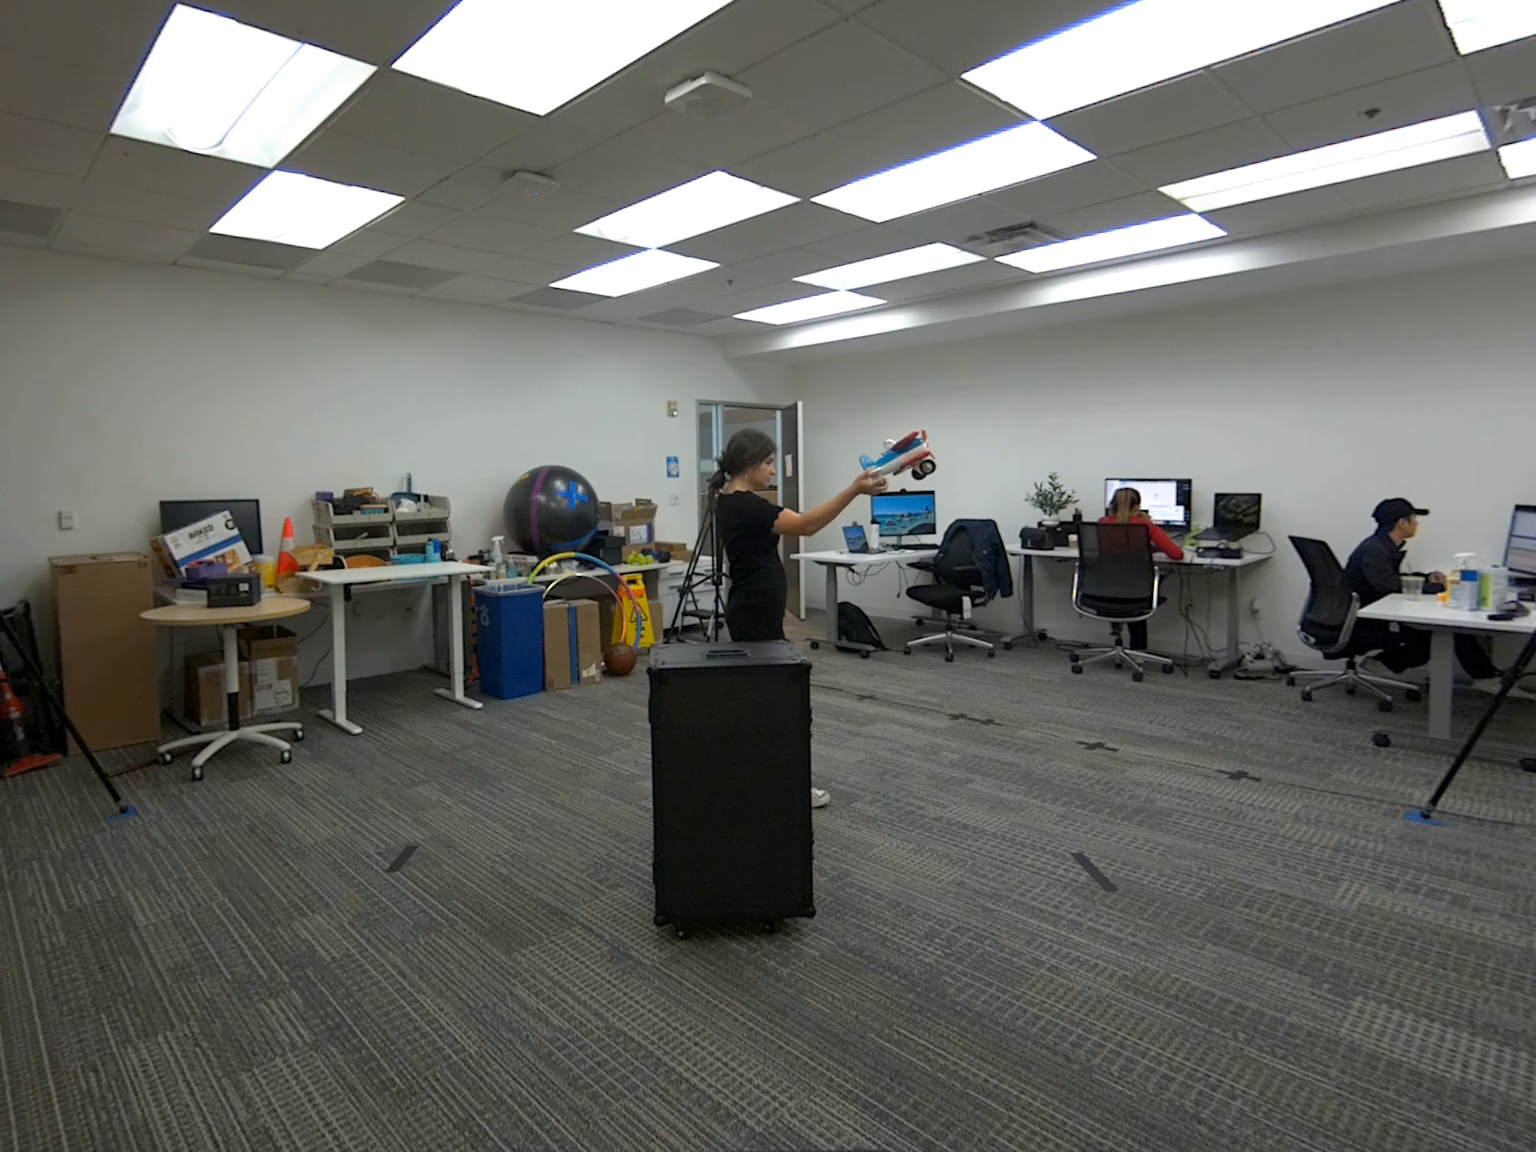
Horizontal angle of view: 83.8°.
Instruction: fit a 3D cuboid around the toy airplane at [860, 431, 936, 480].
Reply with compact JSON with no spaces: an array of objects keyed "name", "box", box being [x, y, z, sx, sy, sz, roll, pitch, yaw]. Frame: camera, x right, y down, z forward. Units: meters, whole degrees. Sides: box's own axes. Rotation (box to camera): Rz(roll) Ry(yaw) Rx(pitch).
[{"name":"toy airplane","box":[0.466,-0.413,3.017,0.253,0.158,0.255,-11,-7,-37]}]
